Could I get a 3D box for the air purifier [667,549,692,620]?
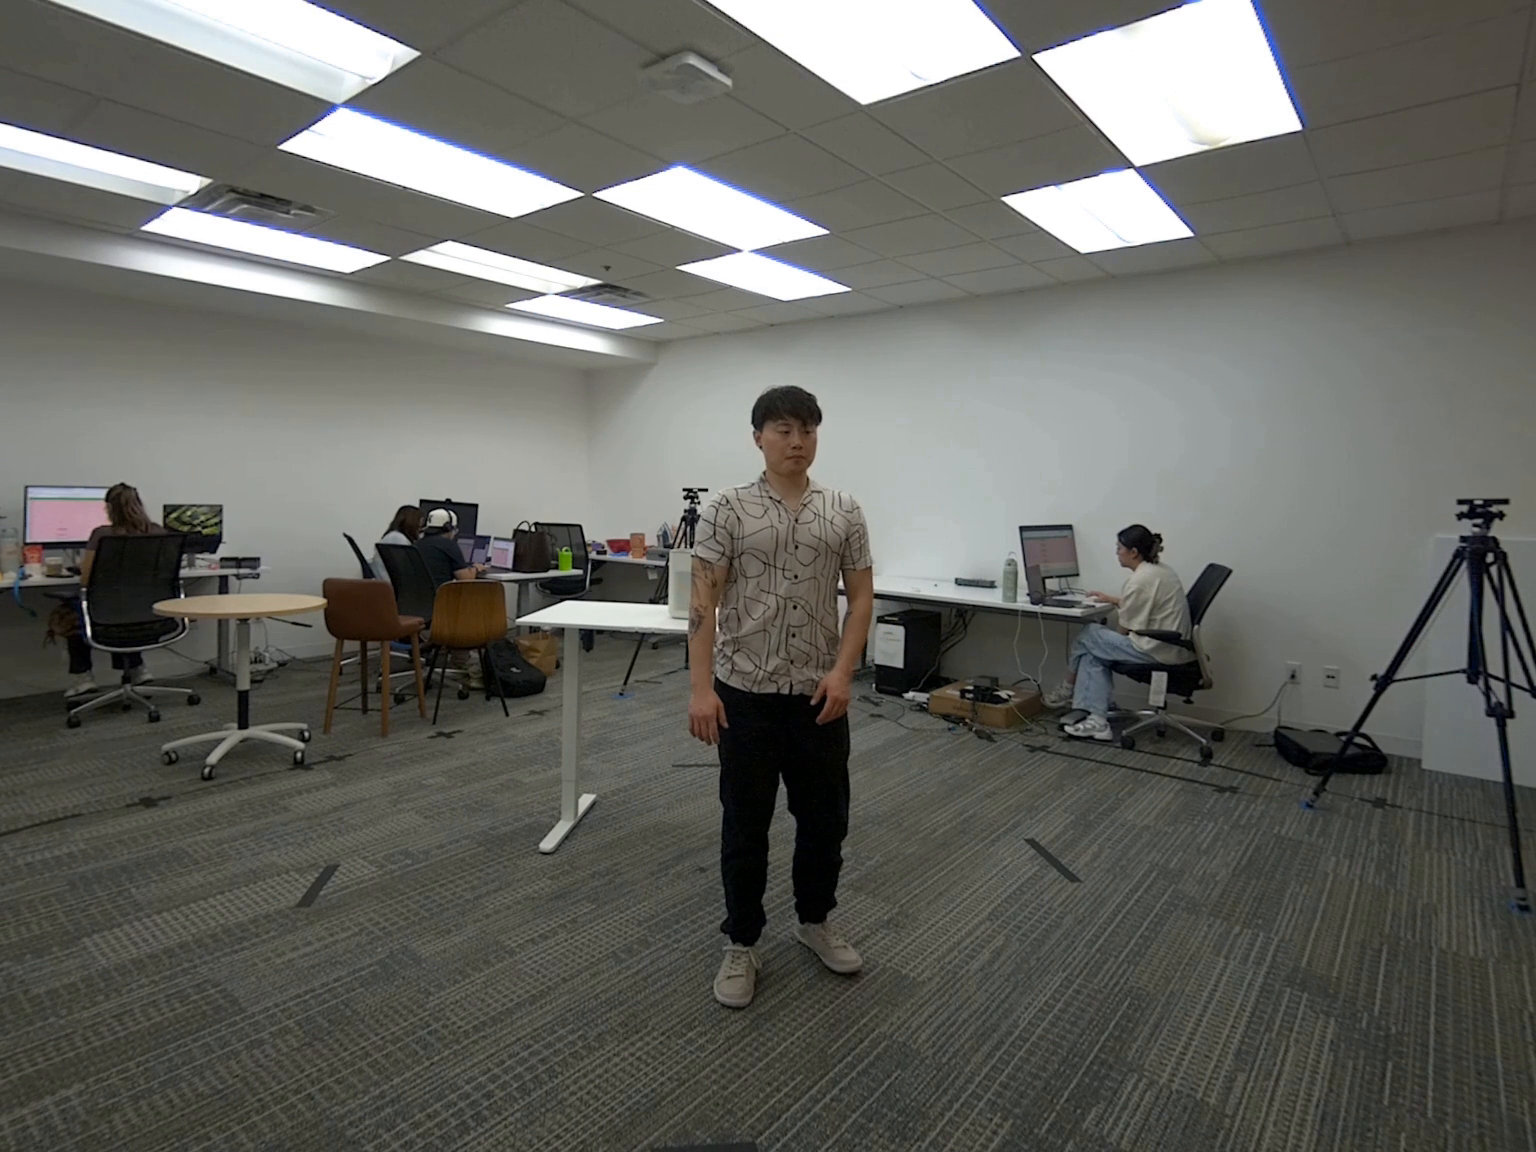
[{"bbox_3d":[-0.317,0.031,3.378,0.173,0.265,0.170,2,2,6],"label":"air purifier"}]
